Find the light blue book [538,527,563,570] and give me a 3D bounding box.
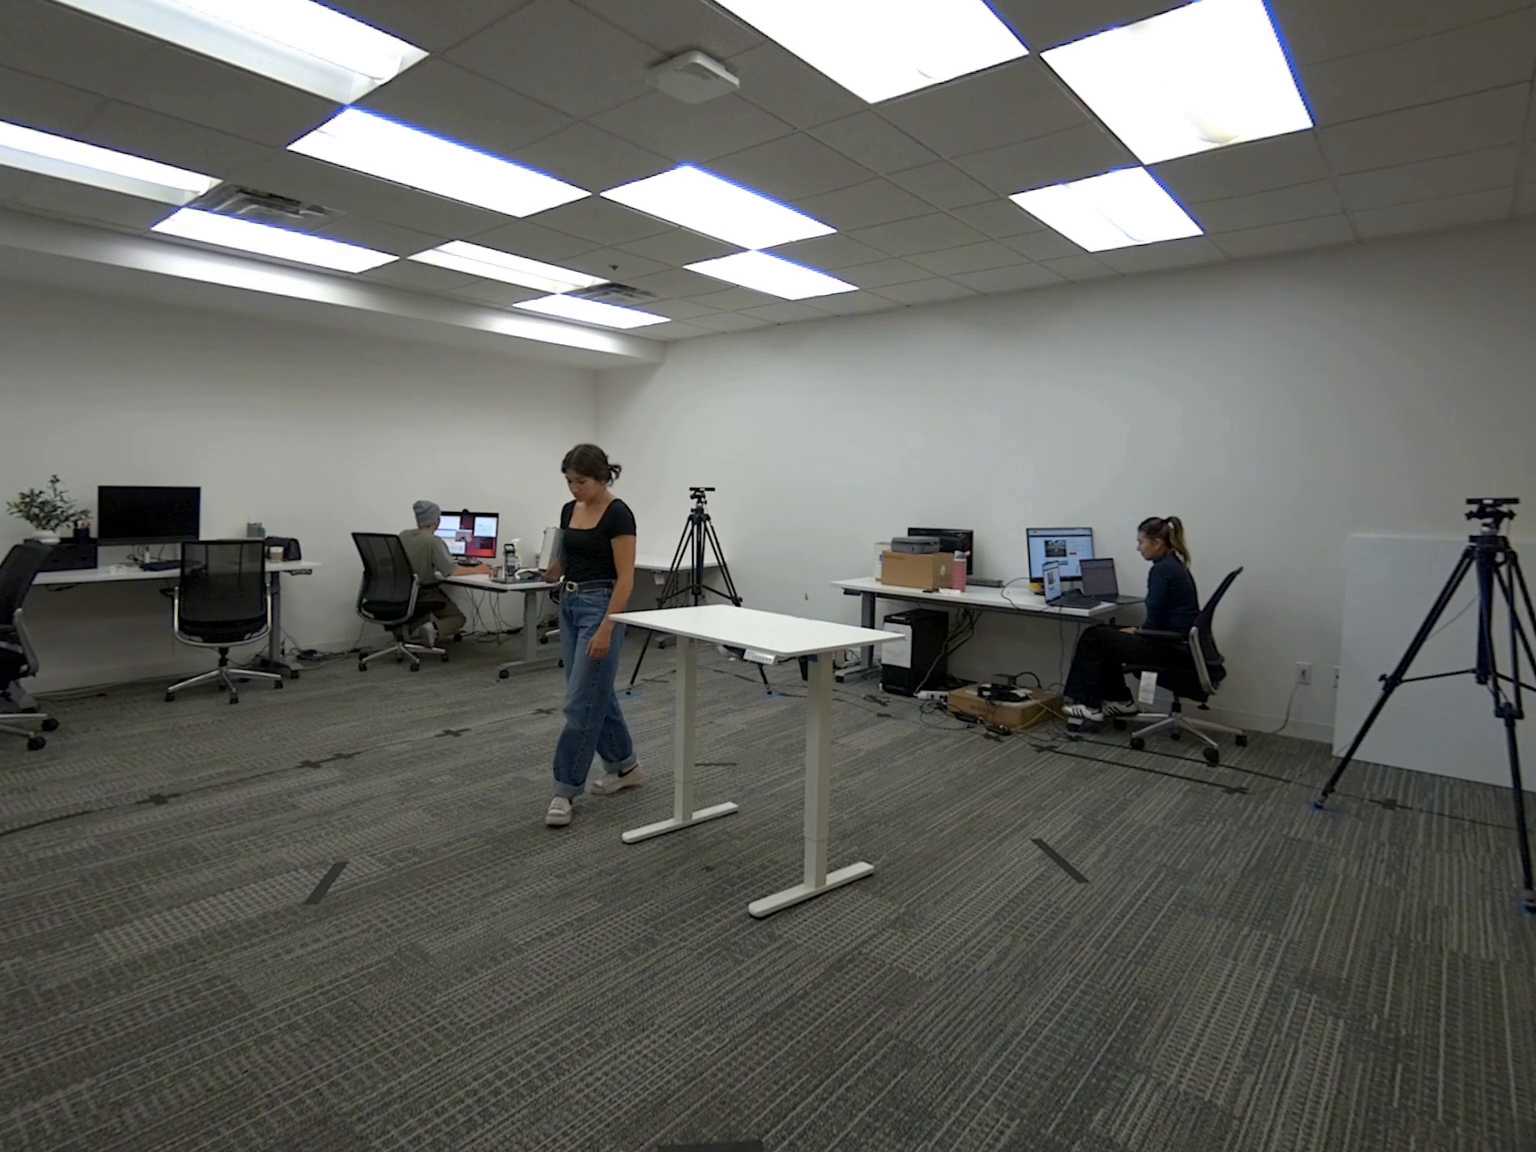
[{"bbox_3d":[-0.915,-0.106,3.795,0.061,0.192,0.252,7,-8,27],"label":"light blue book"}]
